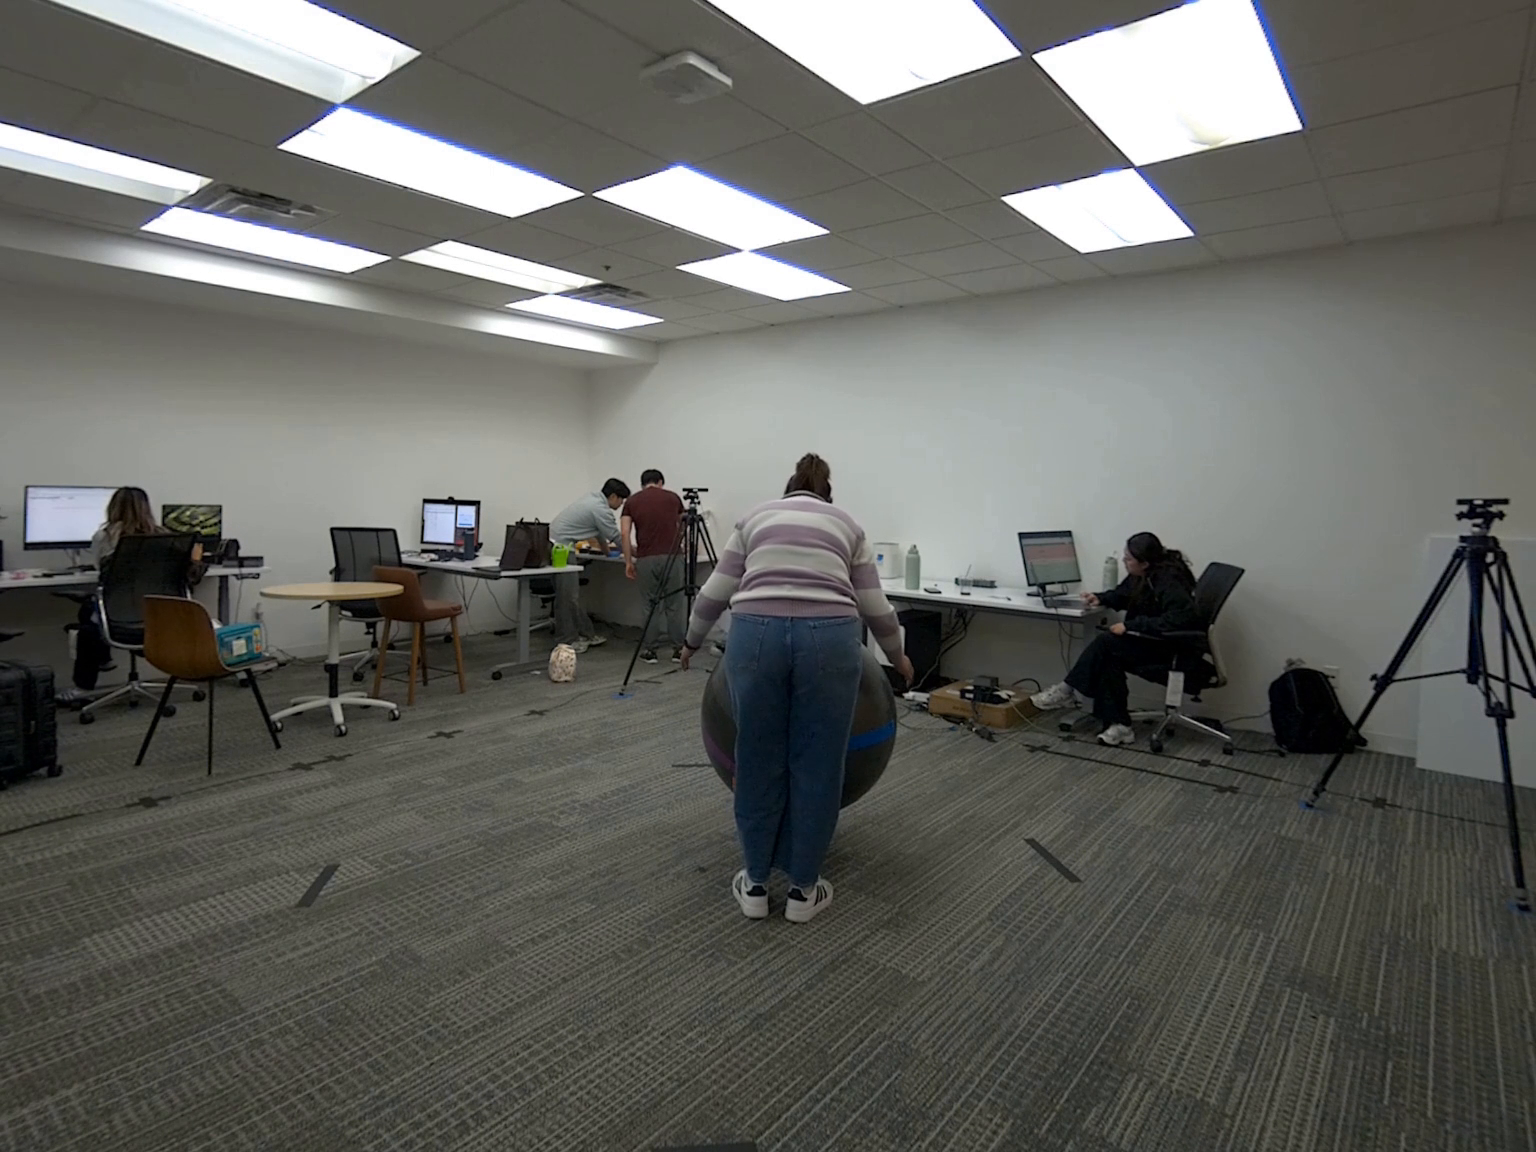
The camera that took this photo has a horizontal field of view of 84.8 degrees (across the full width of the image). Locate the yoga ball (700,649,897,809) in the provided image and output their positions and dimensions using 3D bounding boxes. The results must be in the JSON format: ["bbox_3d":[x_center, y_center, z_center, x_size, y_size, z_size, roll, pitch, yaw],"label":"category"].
[{"bbox_3d":[0.122,0.552,3.312,0.757,0.755,0.762,1,4,-2],"label":"yoga ball"}]
